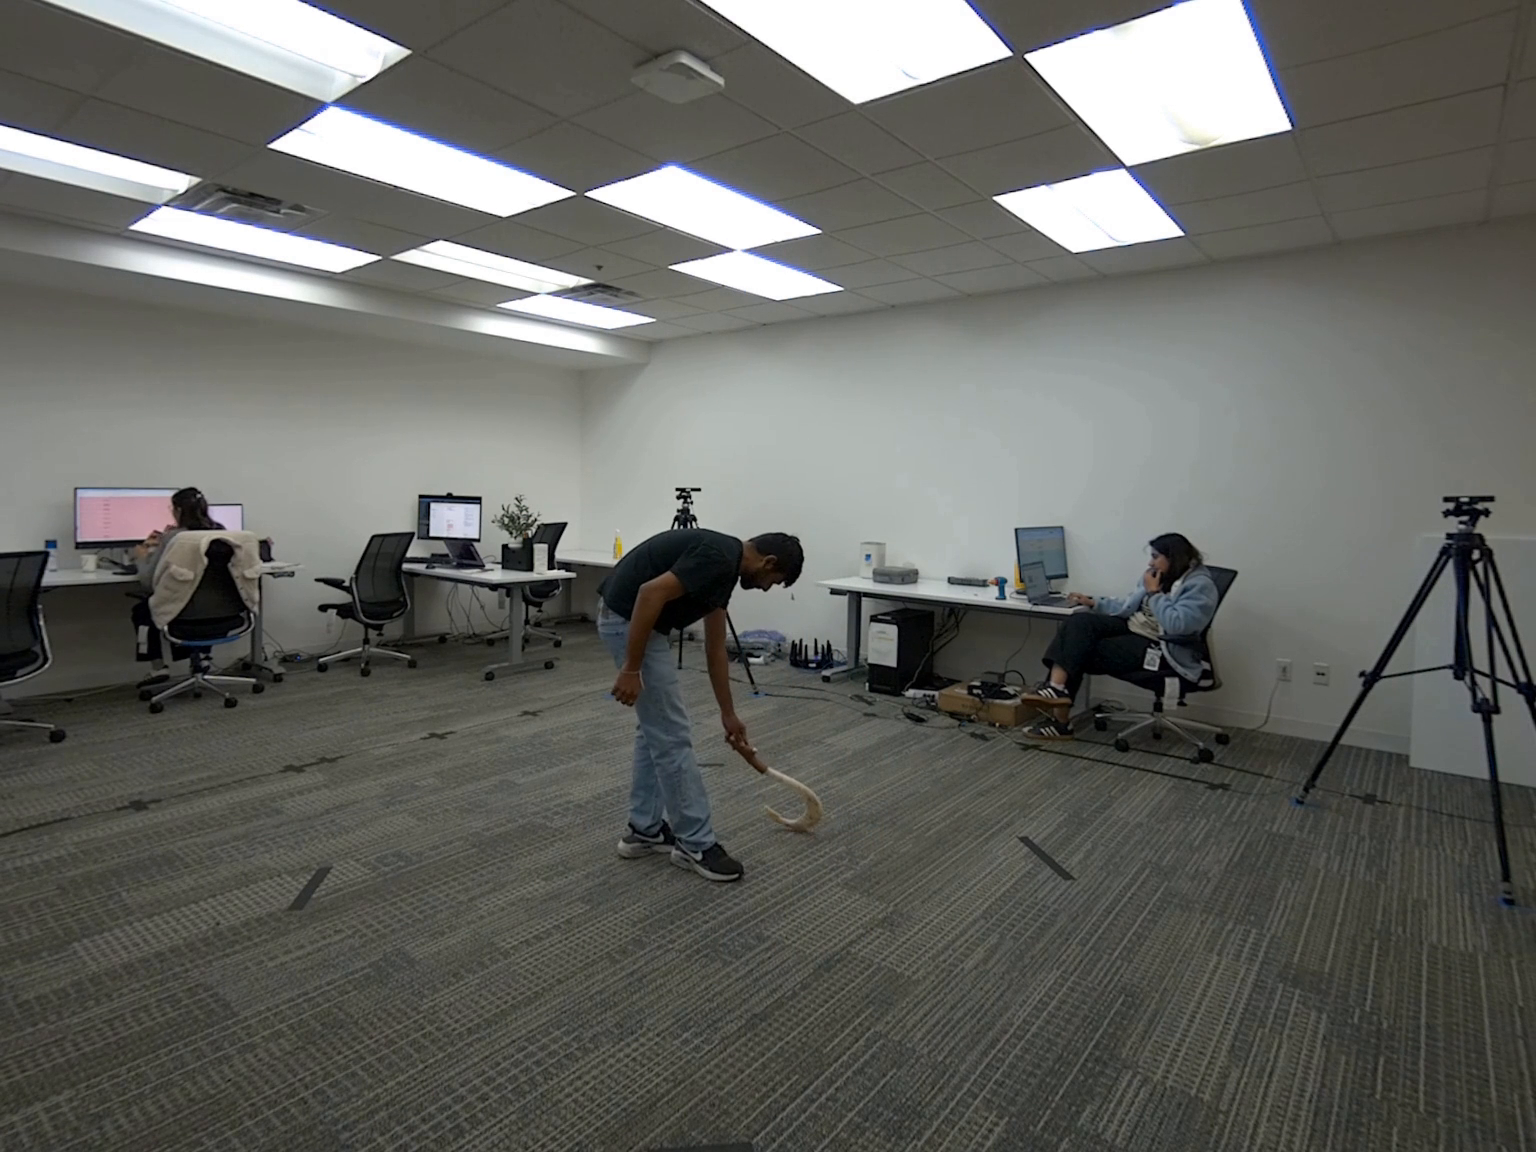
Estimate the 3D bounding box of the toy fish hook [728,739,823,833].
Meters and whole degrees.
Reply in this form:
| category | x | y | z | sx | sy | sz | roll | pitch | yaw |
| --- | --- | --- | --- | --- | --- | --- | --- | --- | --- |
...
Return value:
| category | x | y | z | sx | sy | sz | roll | pitch | yaw |
| --- | --- | --- | --- | --- | --- | --- | --- | --- | --- |
| toy fish hook | -0.008 | 0.846 | 3.441 | 0.505 | 0.225 | 0.048 | 43 | 16 | -2 |
